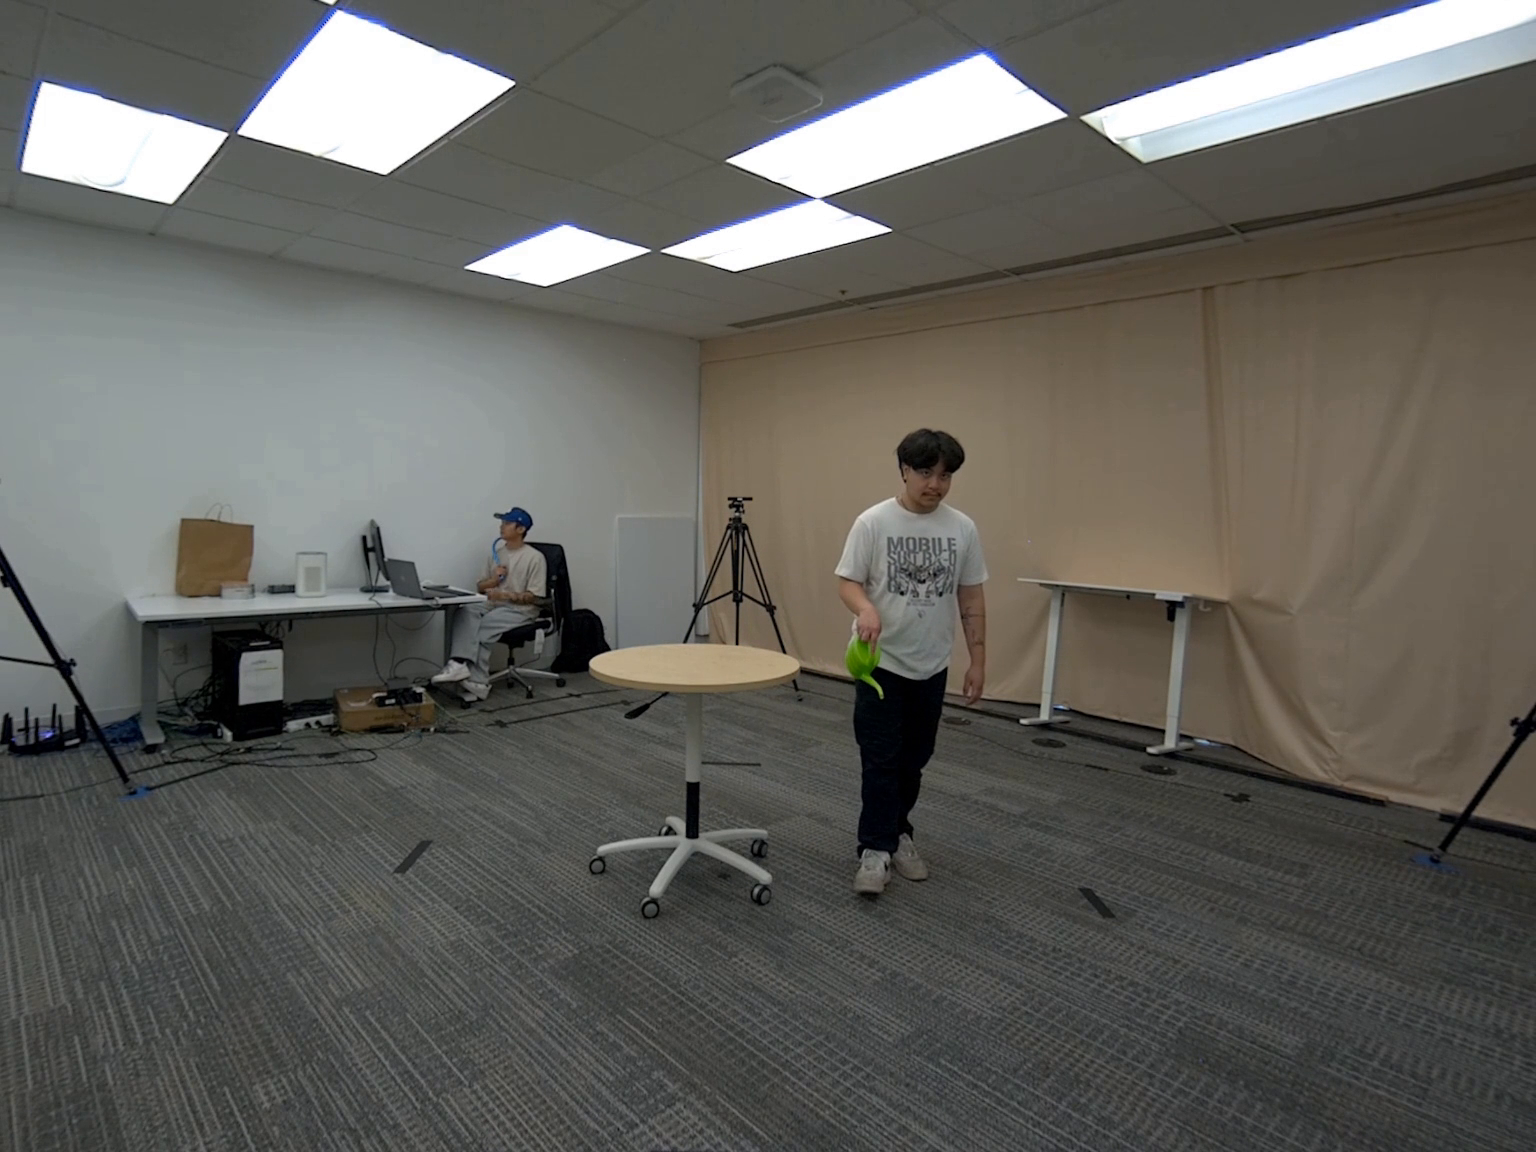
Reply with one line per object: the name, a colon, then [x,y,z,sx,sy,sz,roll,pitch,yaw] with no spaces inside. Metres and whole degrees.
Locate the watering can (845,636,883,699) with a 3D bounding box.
watering can: [0.324,0.316,2.914,0.098,0.282,0.174,9,-28,-1]
